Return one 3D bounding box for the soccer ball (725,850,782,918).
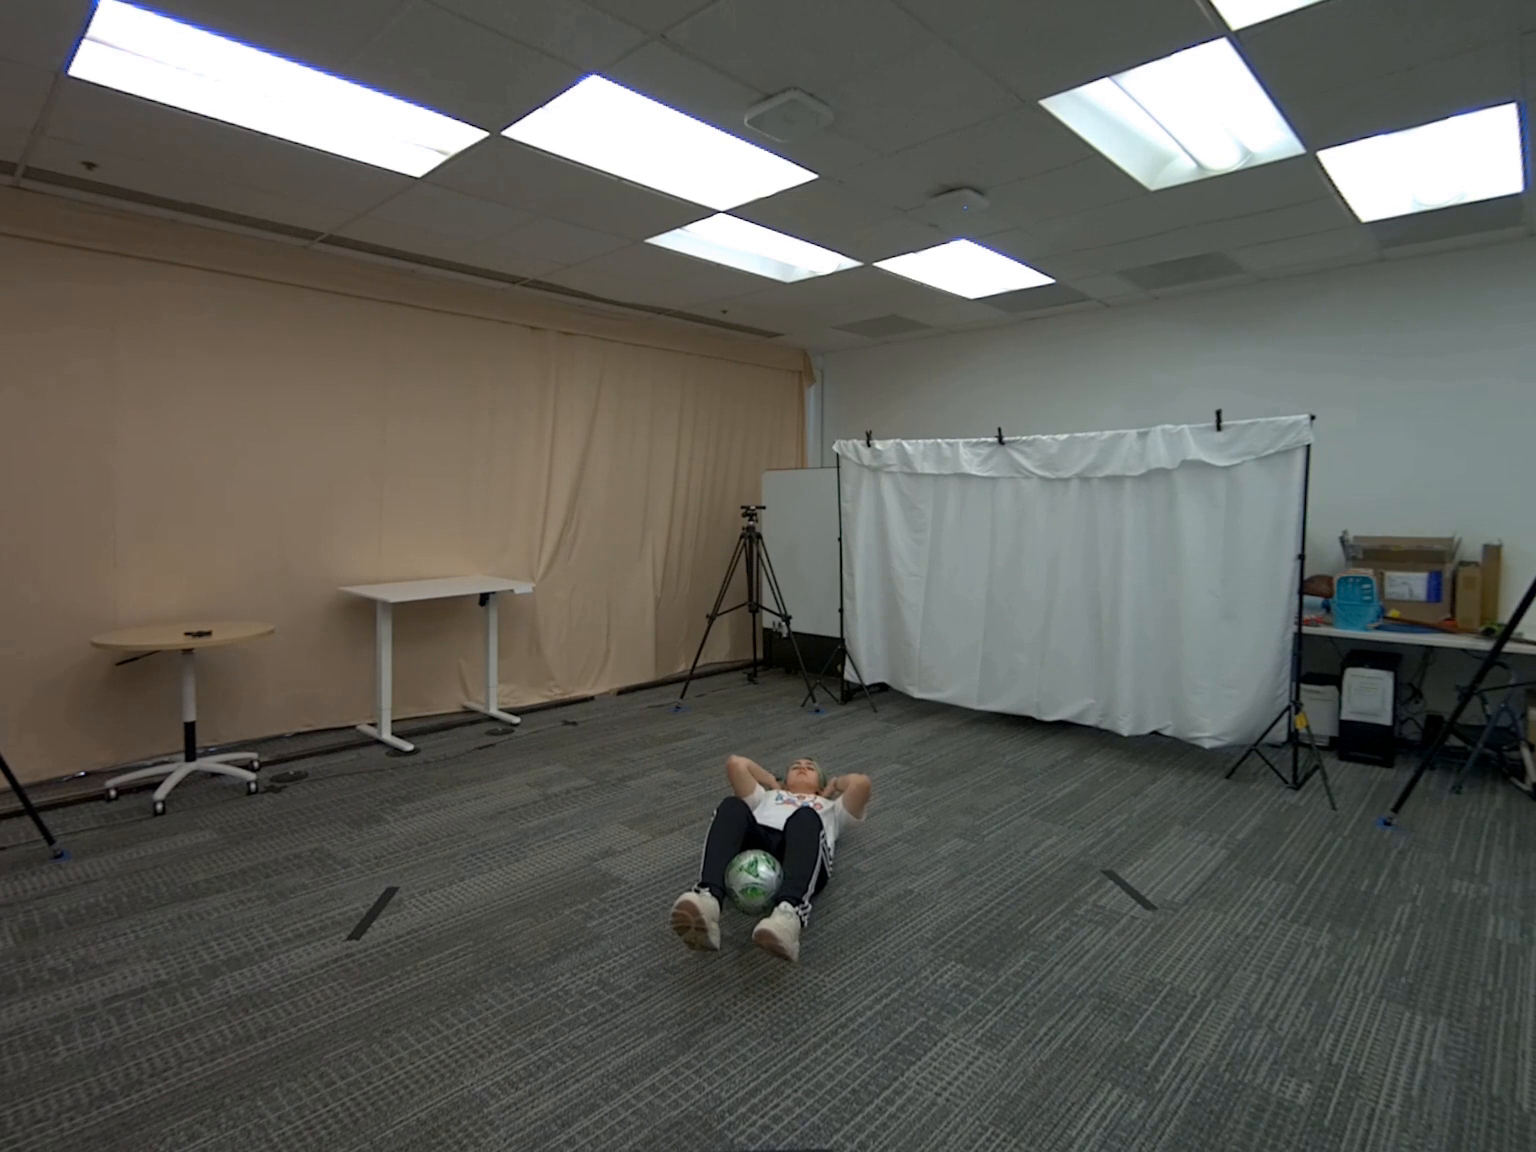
[{"bbox_3d":[-0.035,0.928,2.573,0.187,0.187,0.188,0,4,-2],"label":"soccer ball"}]
